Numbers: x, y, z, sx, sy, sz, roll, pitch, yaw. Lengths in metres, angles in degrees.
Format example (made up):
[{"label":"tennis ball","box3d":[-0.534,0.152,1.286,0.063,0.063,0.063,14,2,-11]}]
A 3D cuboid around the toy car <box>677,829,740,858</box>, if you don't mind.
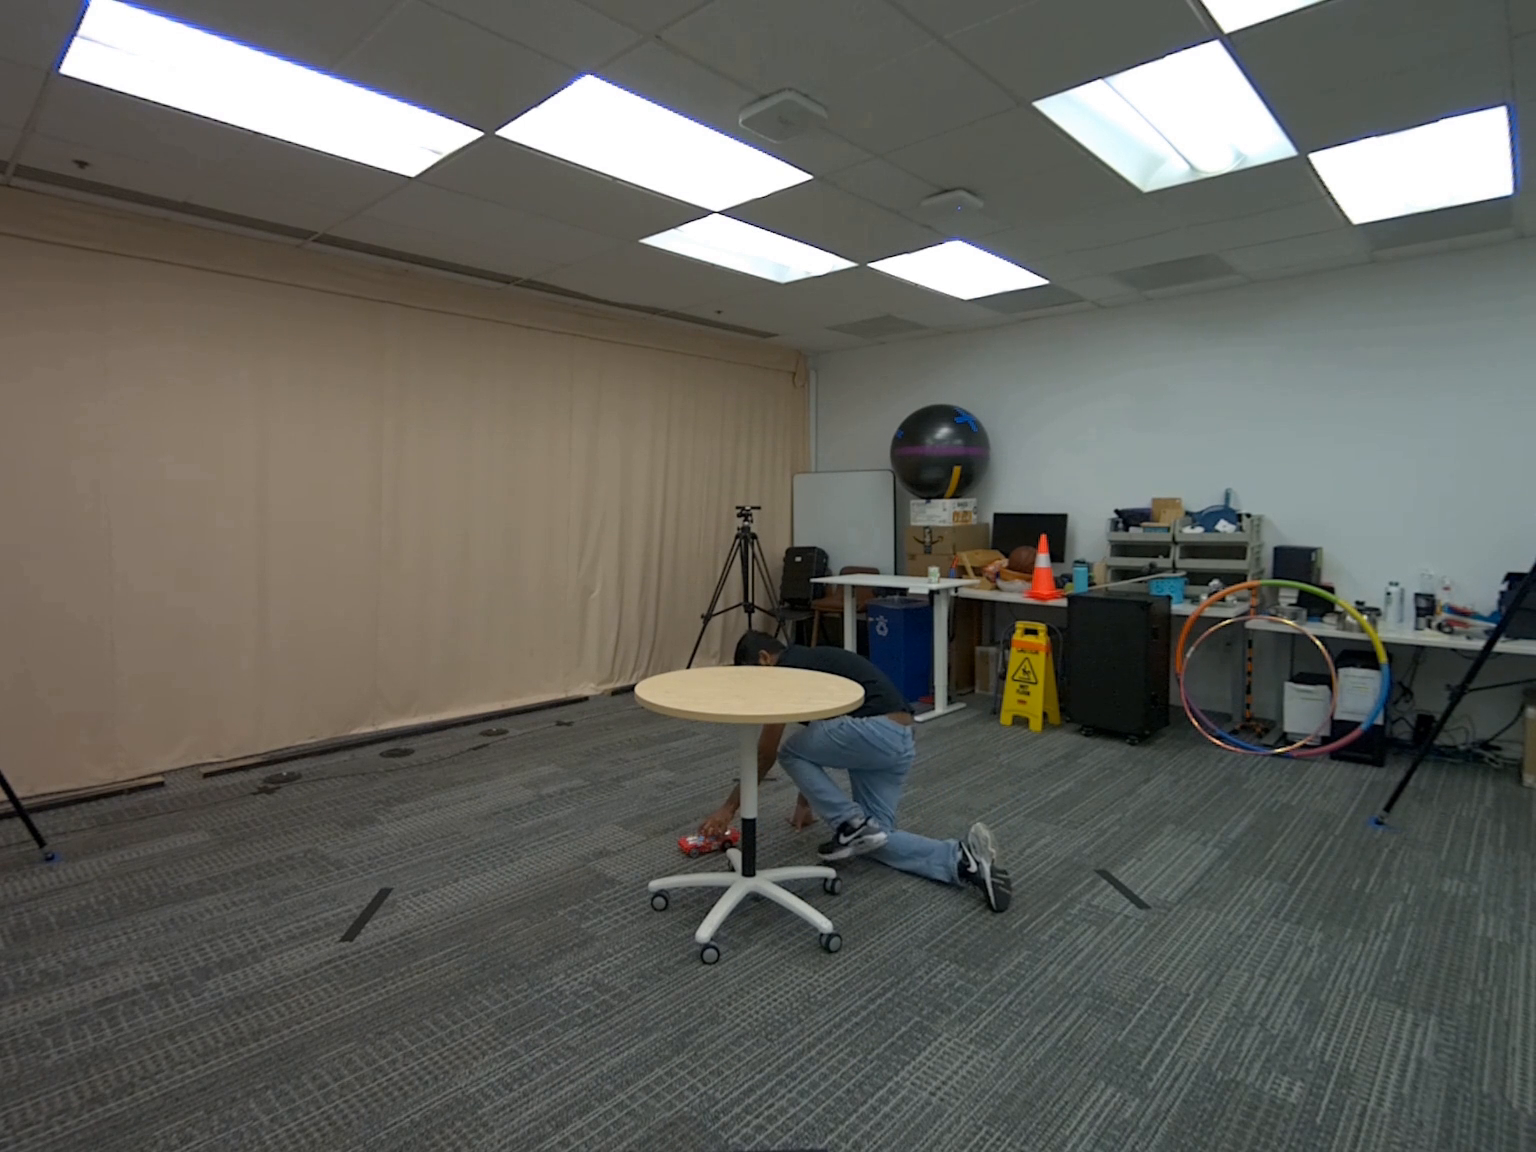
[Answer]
[{"label":"toy car","box3d":[-0.235,1.083,3.442,0.249,0.083,0.133,-13,8,-24]}]
